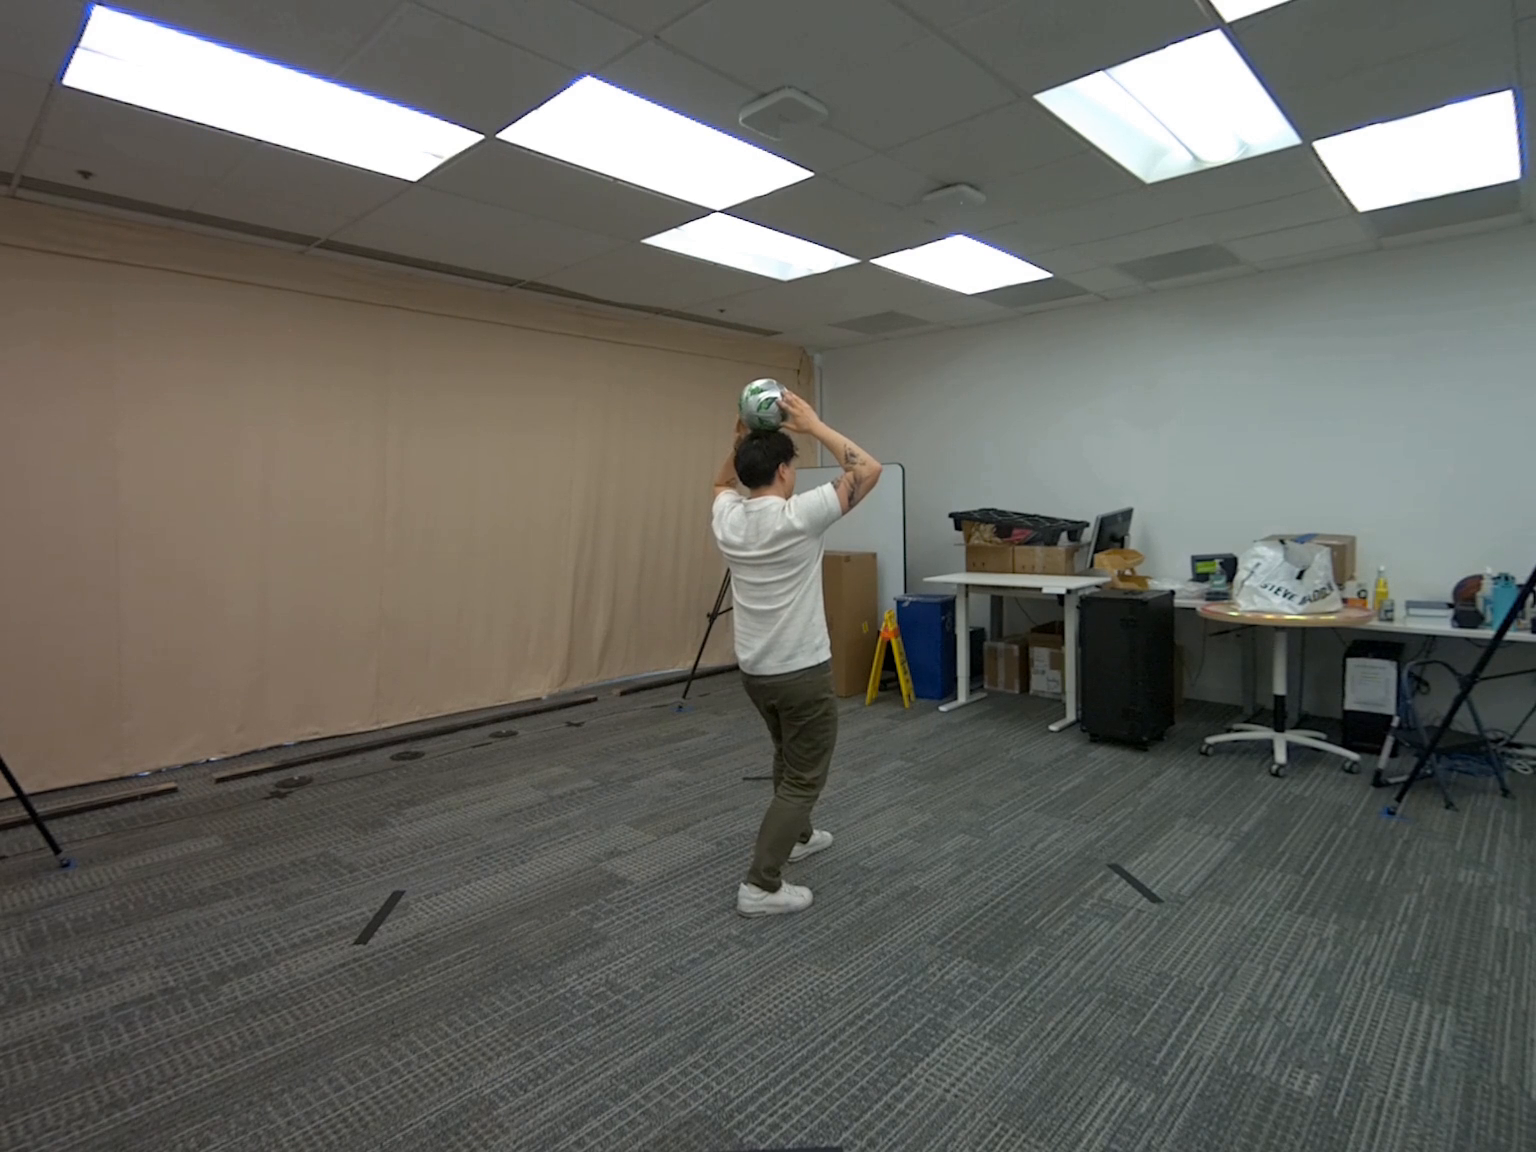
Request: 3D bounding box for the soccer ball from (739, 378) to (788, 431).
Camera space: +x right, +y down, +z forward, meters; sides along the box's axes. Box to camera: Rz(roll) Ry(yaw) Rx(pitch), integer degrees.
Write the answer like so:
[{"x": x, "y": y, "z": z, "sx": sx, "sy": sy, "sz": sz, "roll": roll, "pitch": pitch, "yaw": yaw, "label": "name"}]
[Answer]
[{"x": -0.004, "y": -0.578, "z": 2.888, "sx": 0.187, "sy": 0.187, "sz": 0.188, "roll": -1, "pitch": 4, "yaw": -2, "label": "soccer ball"}]
